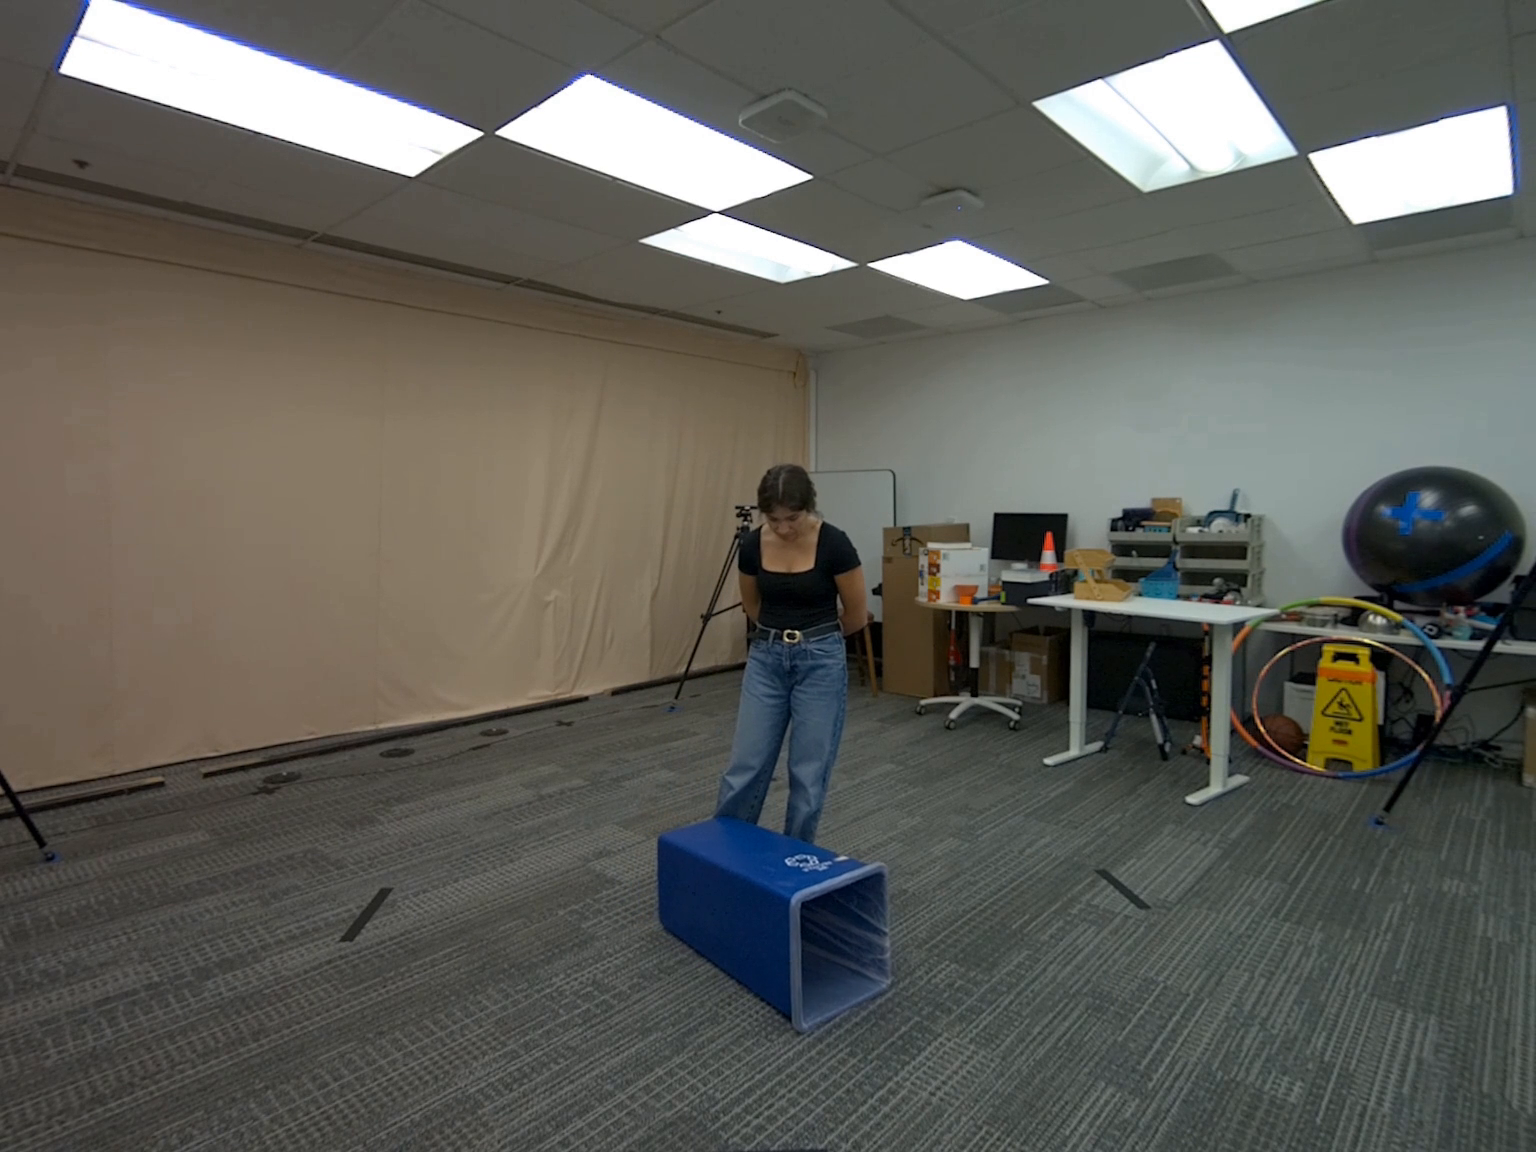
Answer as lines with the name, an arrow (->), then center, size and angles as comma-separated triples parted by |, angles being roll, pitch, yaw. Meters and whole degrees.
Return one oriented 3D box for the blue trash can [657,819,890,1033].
blue trash can -> -0.016, 1.008, 2.587 | 0.363, 0.378, 0.736 | -3, 3, -41
